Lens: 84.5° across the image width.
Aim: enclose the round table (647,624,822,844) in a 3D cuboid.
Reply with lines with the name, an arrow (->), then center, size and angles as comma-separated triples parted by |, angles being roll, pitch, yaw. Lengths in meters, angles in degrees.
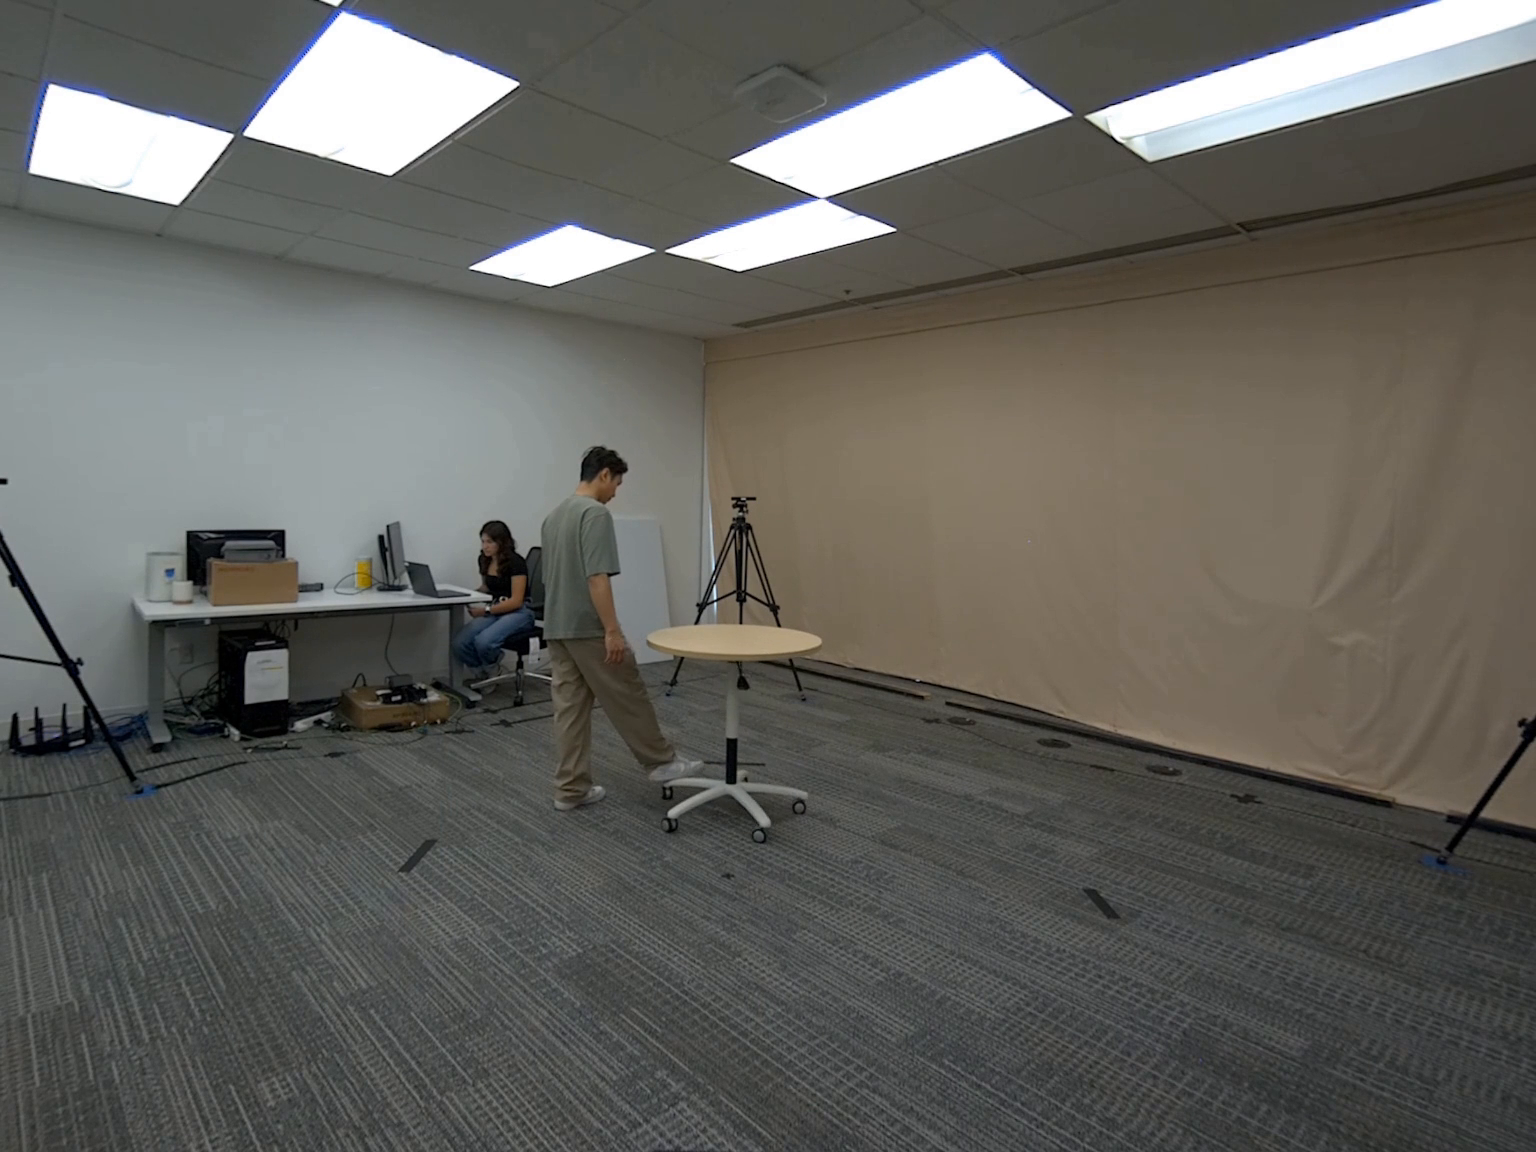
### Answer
round table -> -0.164, 0.661, 3.686 | 0.784, 0.785, 0.787 | 1, 3, -1
